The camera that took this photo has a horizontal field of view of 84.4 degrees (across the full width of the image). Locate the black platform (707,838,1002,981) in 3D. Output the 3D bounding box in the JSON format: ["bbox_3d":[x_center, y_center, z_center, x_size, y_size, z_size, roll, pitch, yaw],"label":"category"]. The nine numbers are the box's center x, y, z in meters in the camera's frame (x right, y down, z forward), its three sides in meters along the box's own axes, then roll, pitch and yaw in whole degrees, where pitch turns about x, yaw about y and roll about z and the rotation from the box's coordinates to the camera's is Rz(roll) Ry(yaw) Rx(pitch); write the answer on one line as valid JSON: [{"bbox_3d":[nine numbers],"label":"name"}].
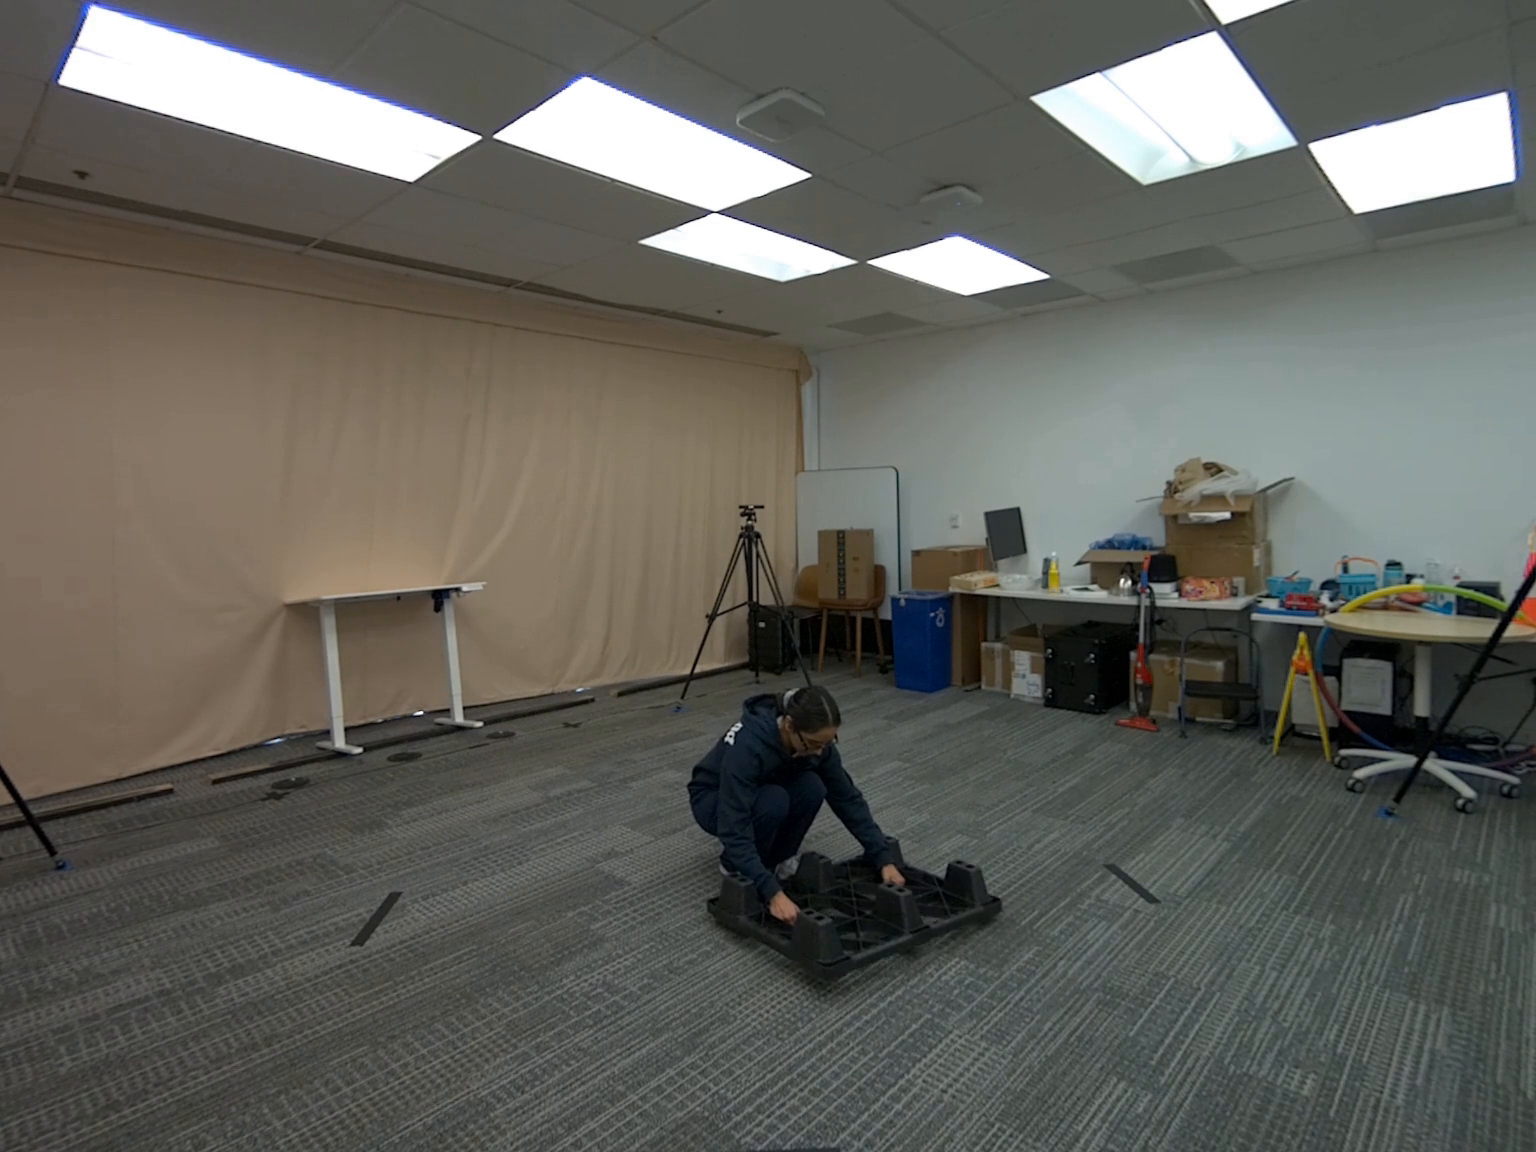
[{"bbox_3d":[0.289,1.047,2.808,0.781,0.143,0.624,-2,2,-37],"label":"black platform"}]
